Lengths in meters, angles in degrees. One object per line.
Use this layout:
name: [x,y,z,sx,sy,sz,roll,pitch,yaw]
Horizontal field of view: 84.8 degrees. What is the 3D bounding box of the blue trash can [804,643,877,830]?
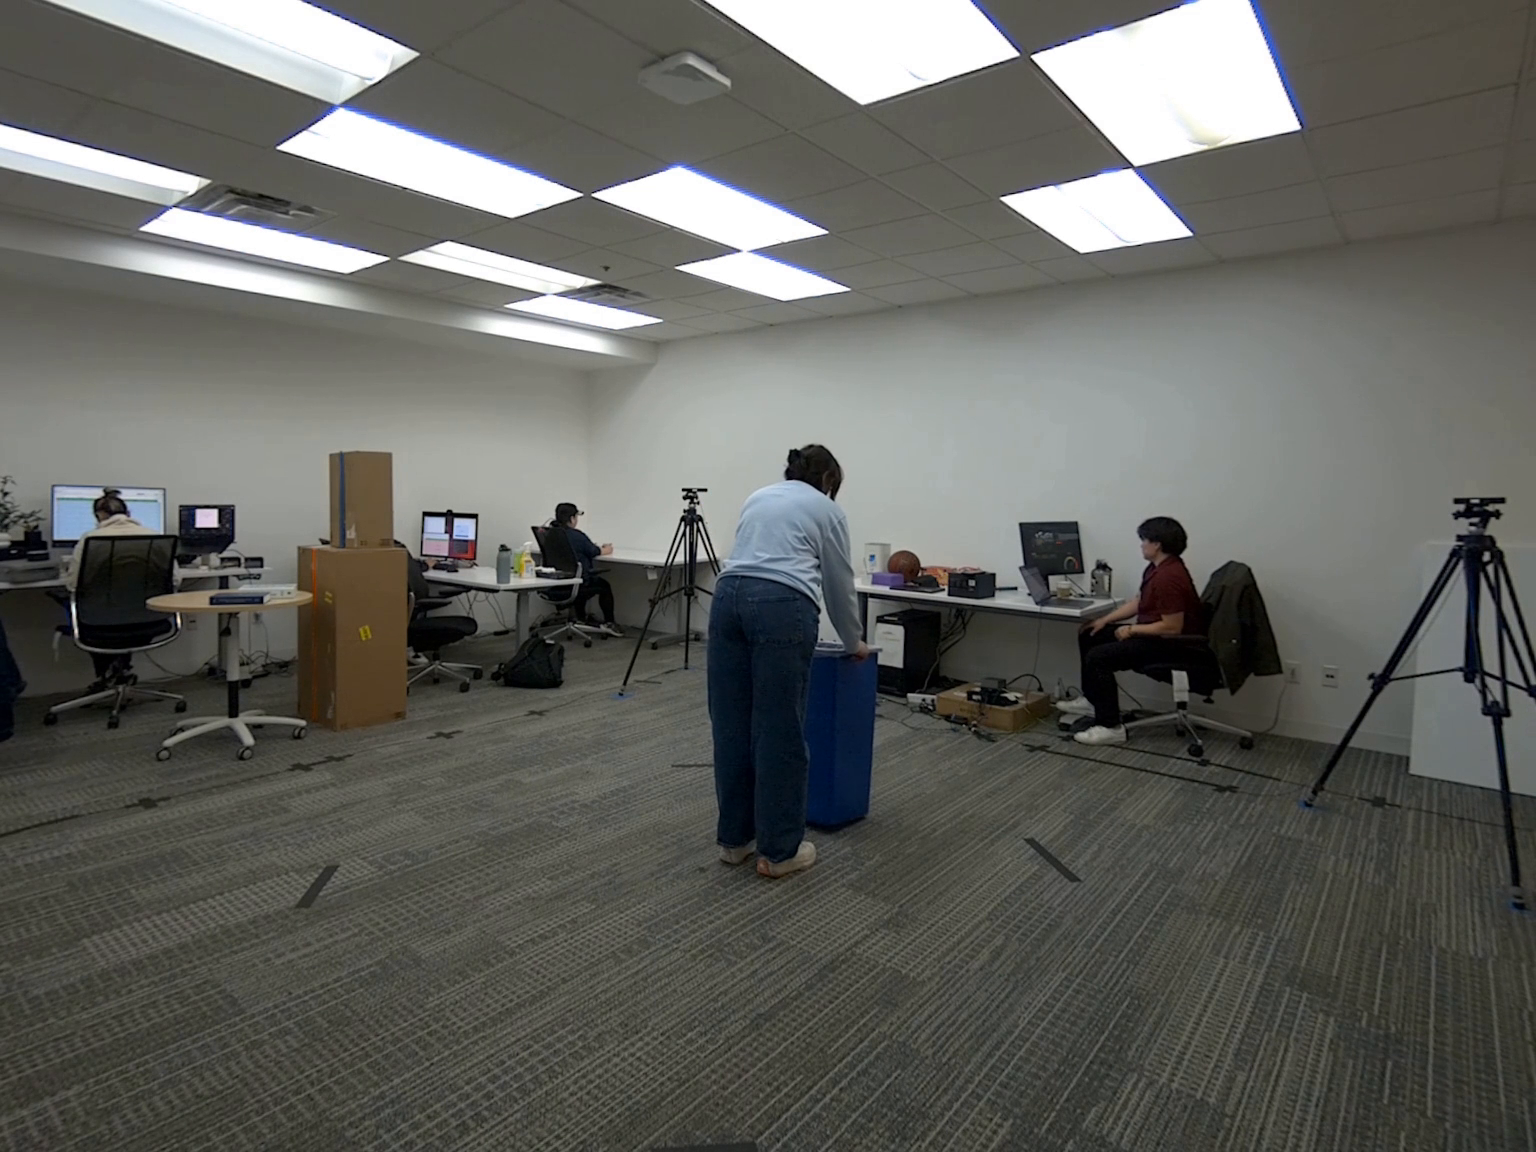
blue trash can: [0.230,0.653,3.650,0.390,0.716,0.361,-1,-5,38]
